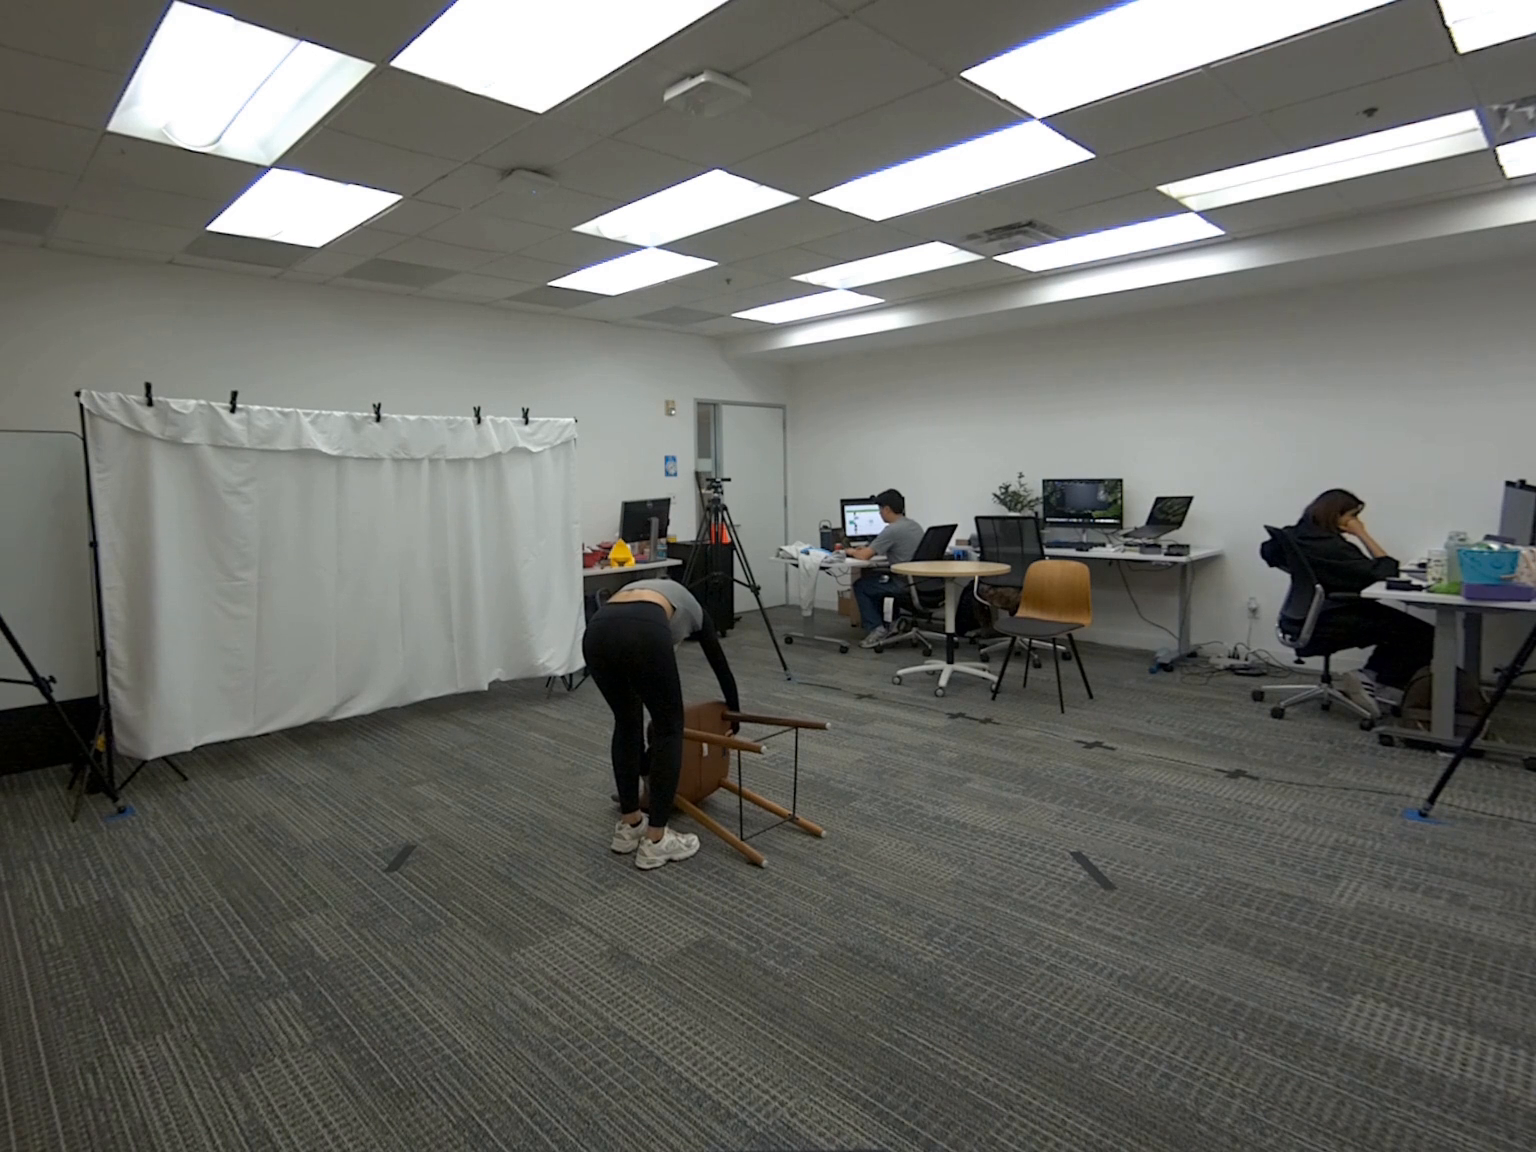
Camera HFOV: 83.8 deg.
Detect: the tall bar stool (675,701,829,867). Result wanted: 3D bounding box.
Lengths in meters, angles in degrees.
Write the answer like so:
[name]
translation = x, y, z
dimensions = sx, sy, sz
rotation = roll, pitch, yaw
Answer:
[tall bar stool]
translation = -0.218, 0.774, 3.475
dimensions = 0.917, 0.466, 0.444
rotation = 4, 7, 43
